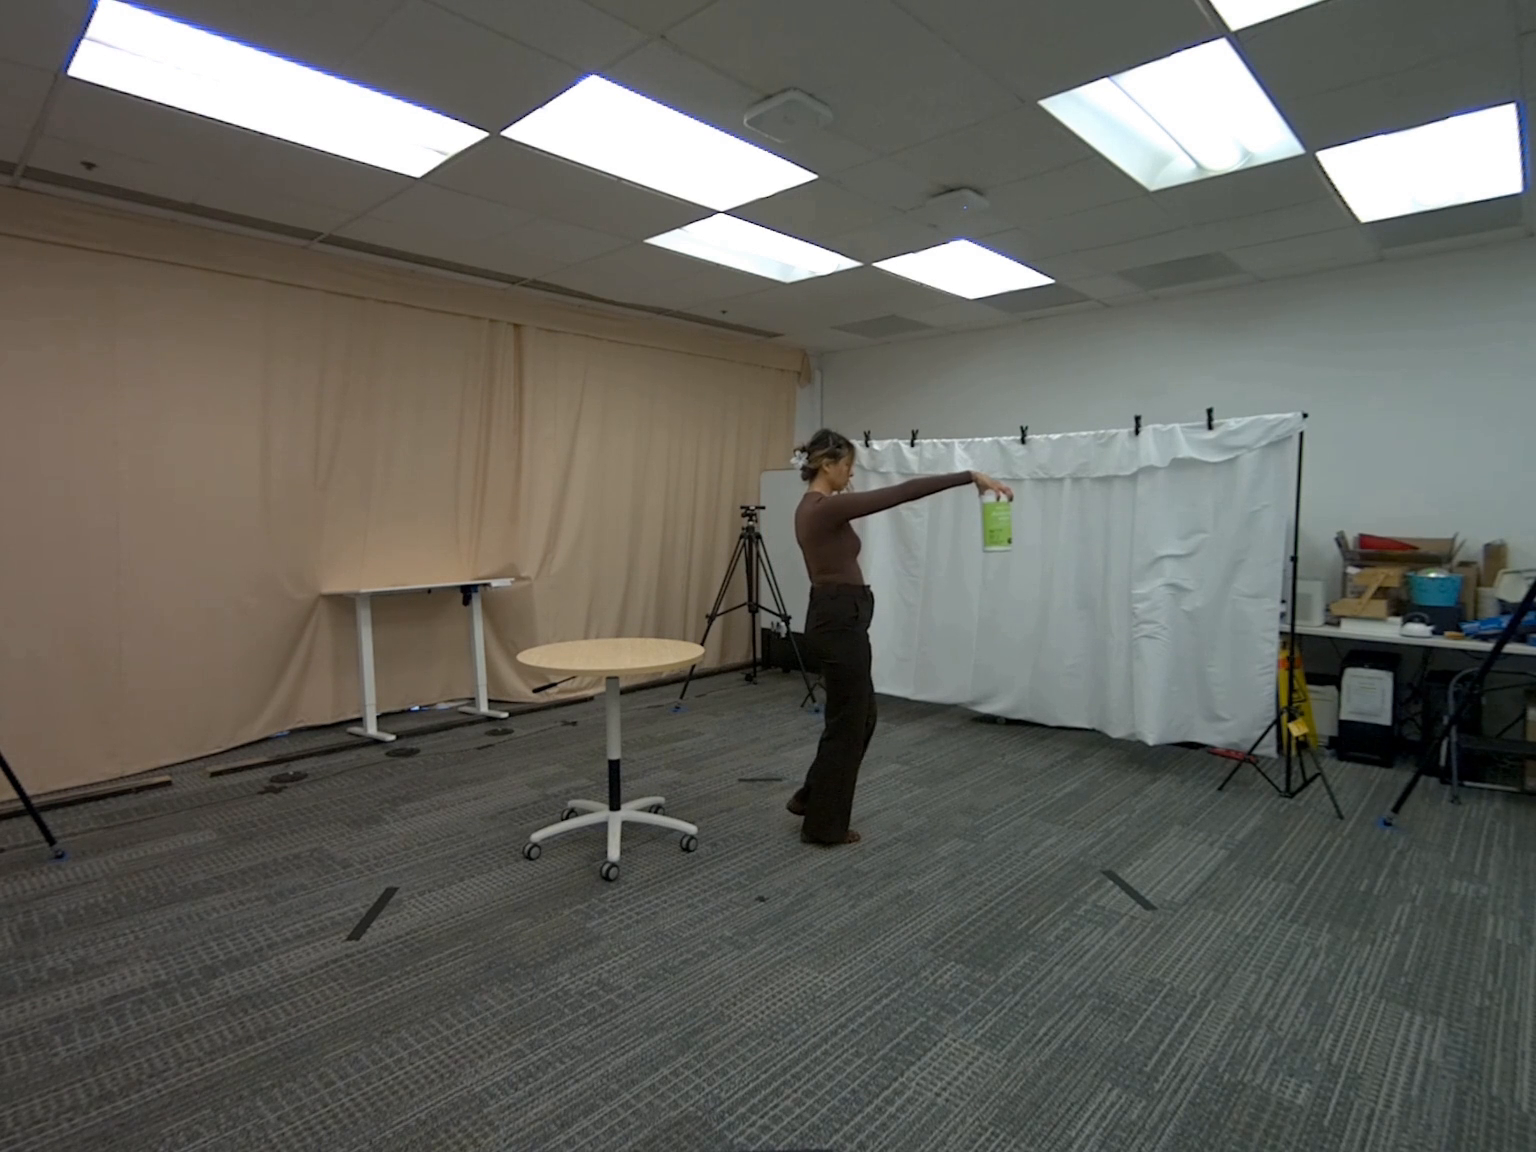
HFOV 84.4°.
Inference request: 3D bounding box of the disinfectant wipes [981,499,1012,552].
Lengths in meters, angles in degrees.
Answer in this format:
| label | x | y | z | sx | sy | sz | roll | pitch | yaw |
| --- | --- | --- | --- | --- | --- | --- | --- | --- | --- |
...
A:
| label | x | y | z | sx | sy | sz | roll | pitch | yaw |
| --- | --- | --- | --- | --- | --- | --- | --- | --- | --- |
| disinfectant wipes | 0.870 | -0.197 | 3.196 | 0.118 | 0.217 | 0.118 | -4 | 3 | -2 |
